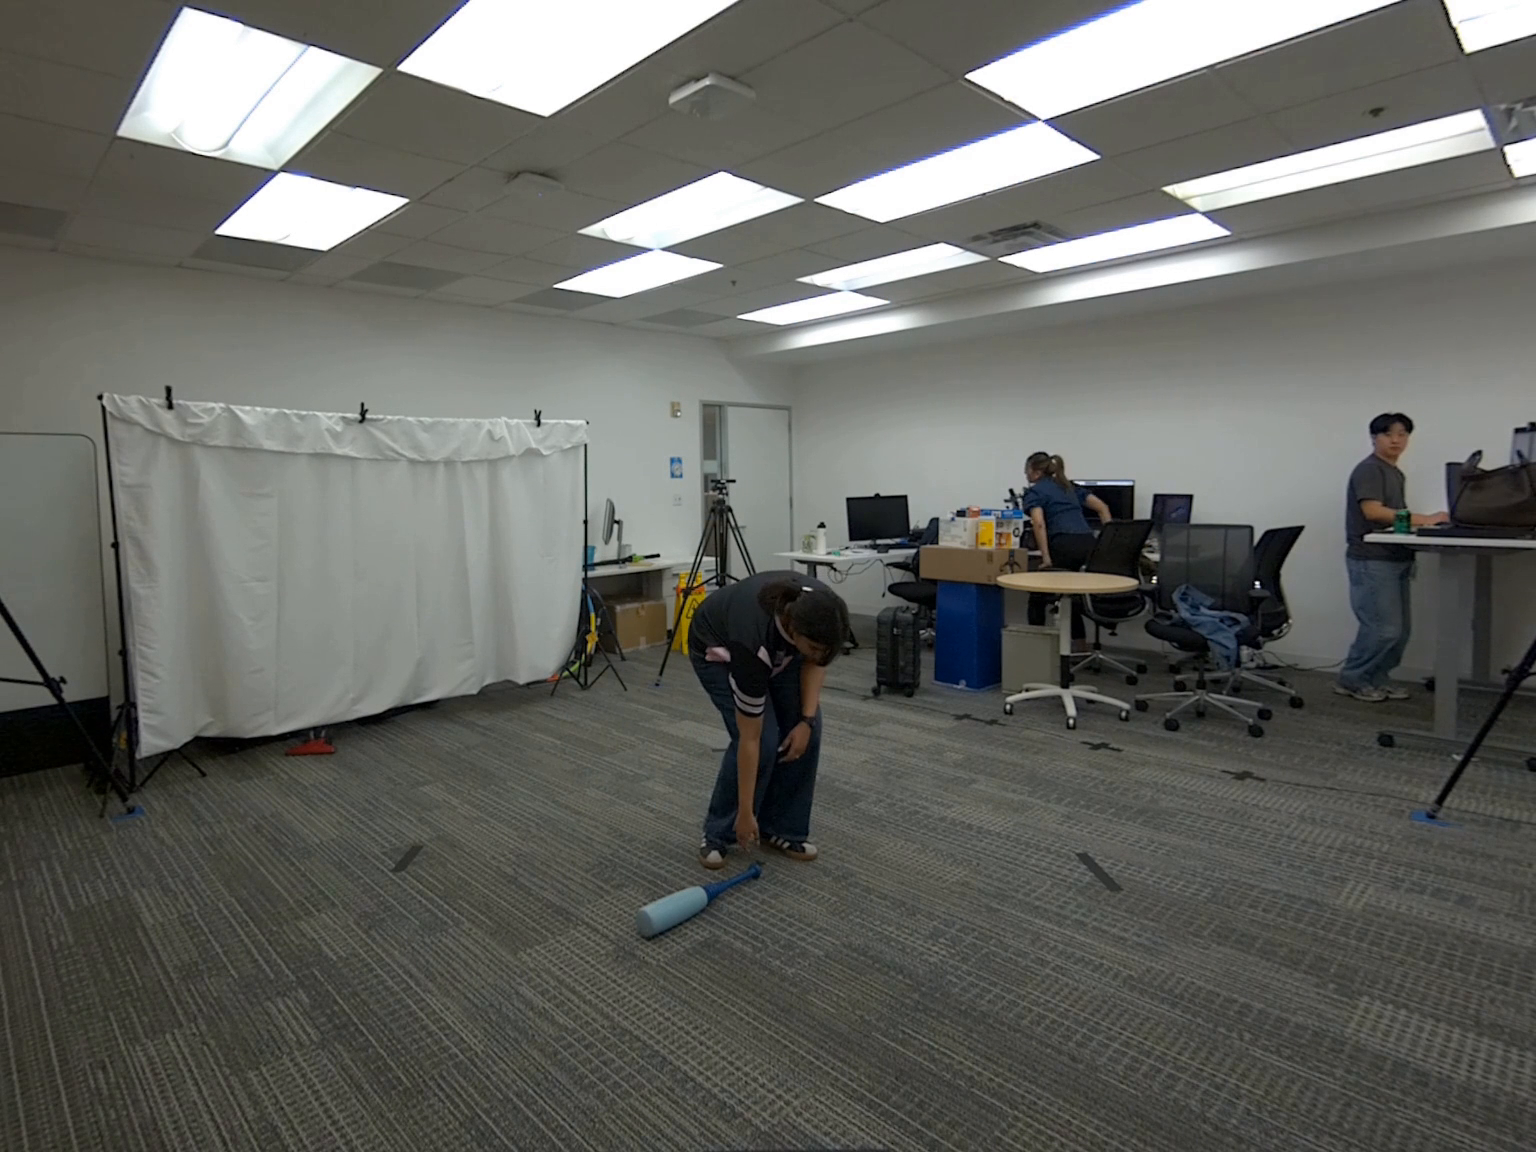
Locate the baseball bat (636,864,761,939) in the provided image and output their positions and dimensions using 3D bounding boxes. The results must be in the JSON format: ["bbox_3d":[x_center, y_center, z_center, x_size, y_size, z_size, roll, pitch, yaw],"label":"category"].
[{"bbox_3d":[-0.204,1.052,2.802,0.092,0.089,0.528,3,5,41],"label":"baseball bat"}]
